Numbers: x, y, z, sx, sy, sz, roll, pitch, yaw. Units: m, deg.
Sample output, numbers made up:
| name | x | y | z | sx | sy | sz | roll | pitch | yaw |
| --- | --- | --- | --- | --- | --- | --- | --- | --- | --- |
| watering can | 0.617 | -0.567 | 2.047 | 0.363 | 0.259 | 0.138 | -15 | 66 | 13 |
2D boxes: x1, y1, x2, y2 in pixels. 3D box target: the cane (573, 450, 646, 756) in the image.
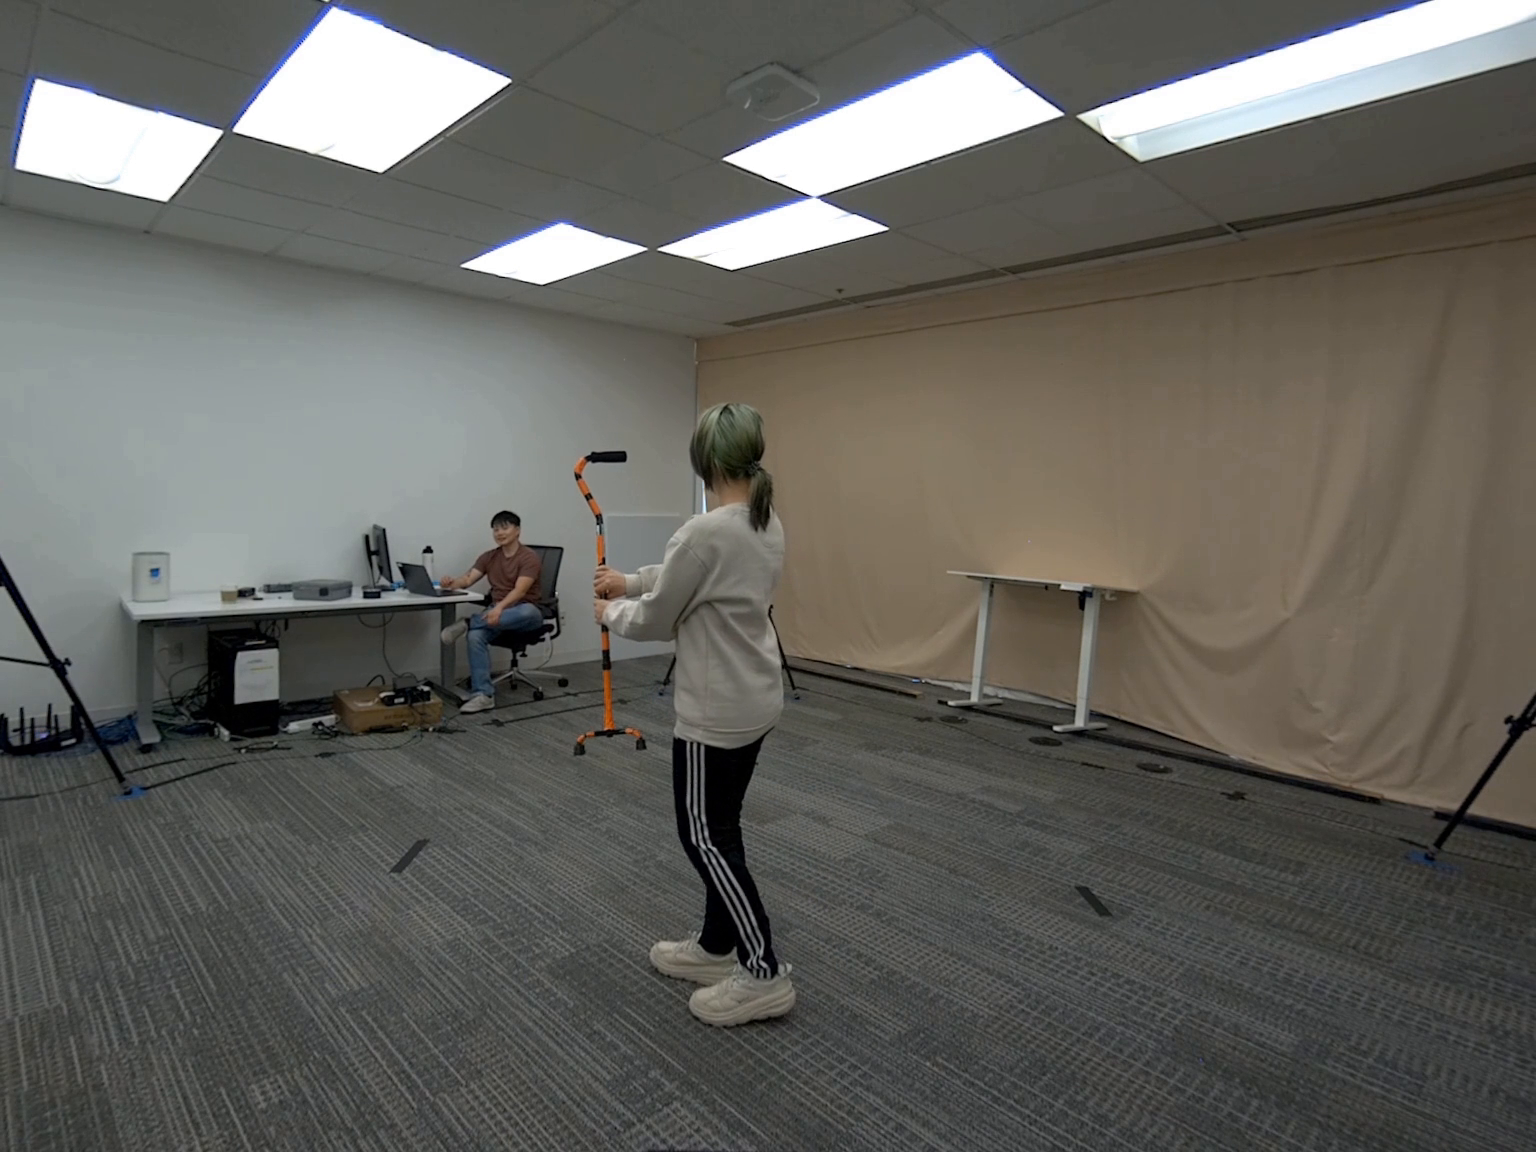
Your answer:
| name | x | y | z | sx | sy | sz | roll | pitch | yaw |
| --- | --- | --- | --- | --- | --- | --- | --- | --- | --- |
| cane | -0.509 | 0.066 | 2.529 | 0.204 | 0.916 | 0.151 | -3 | -11 | -13 |
